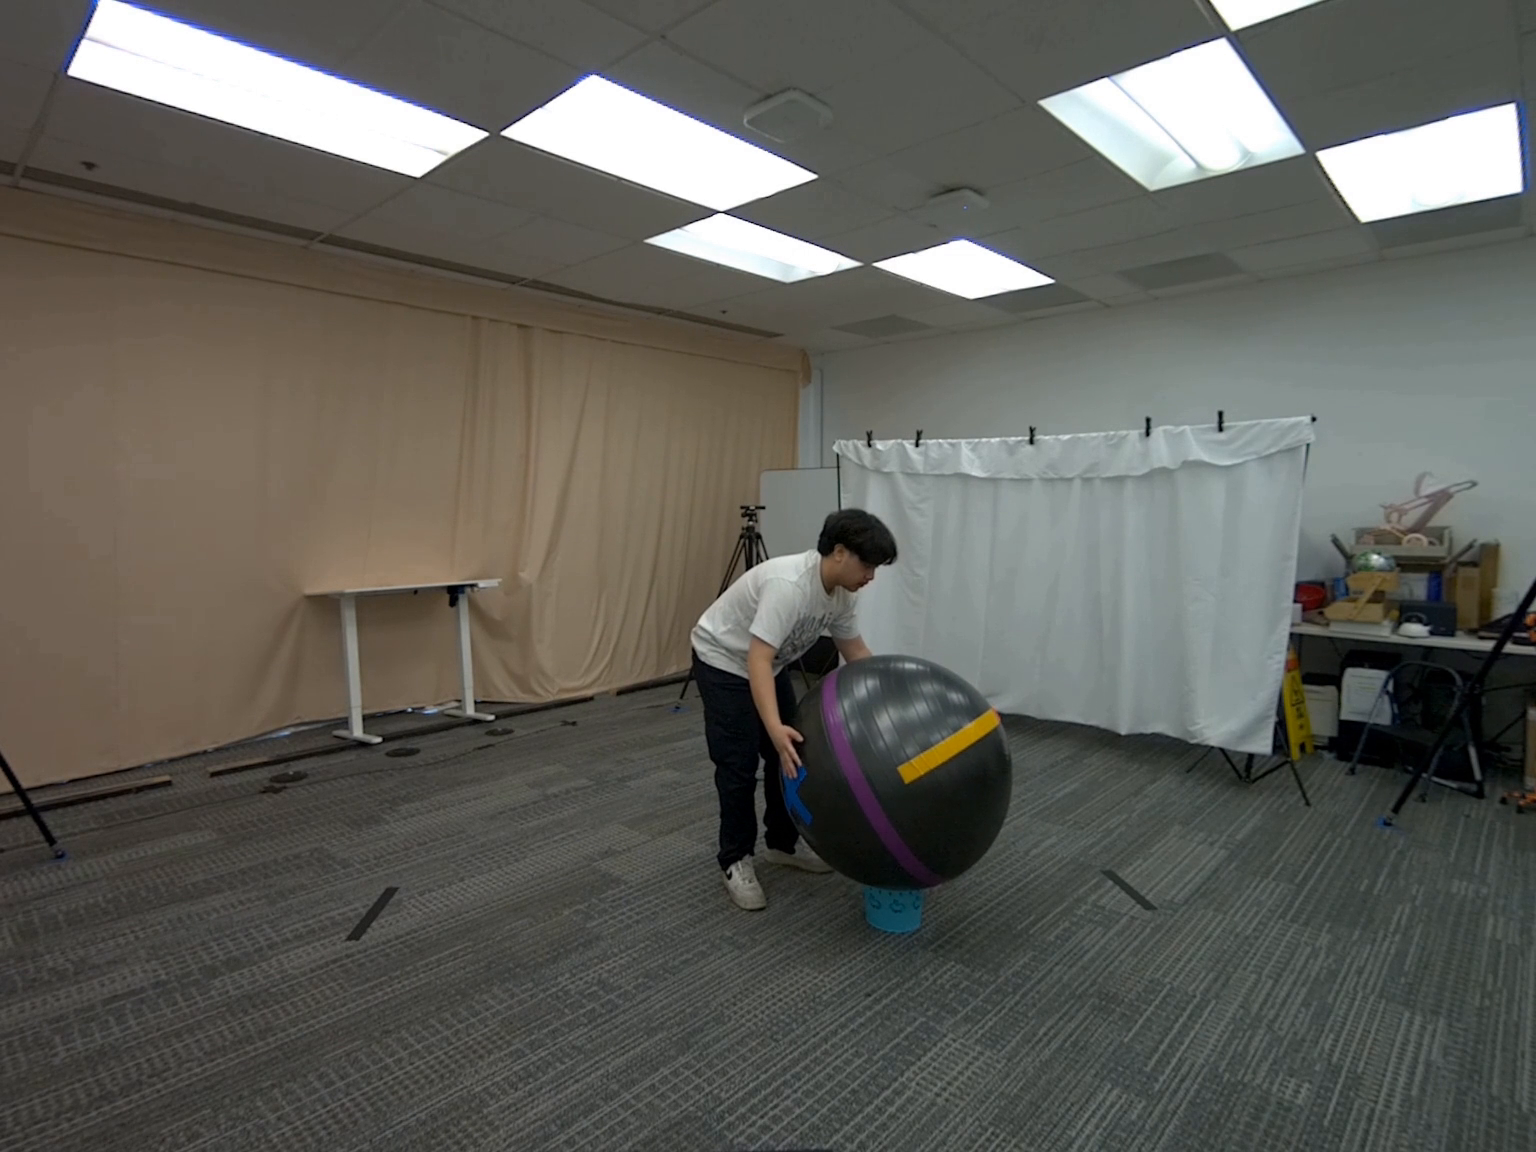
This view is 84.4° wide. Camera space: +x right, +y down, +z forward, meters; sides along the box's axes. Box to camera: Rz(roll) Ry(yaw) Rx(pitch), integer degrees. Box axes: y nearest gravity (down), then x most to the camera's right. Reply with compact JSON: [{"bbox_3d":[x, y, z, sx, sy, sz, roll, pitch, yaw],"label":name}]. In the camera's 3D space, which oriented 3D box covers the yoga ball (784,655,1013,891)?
[{"bbox_3d":[0.425,0.652,2.808,0.757,0.756,0.760,0,4,-2],"label":"yoga ball"}]
